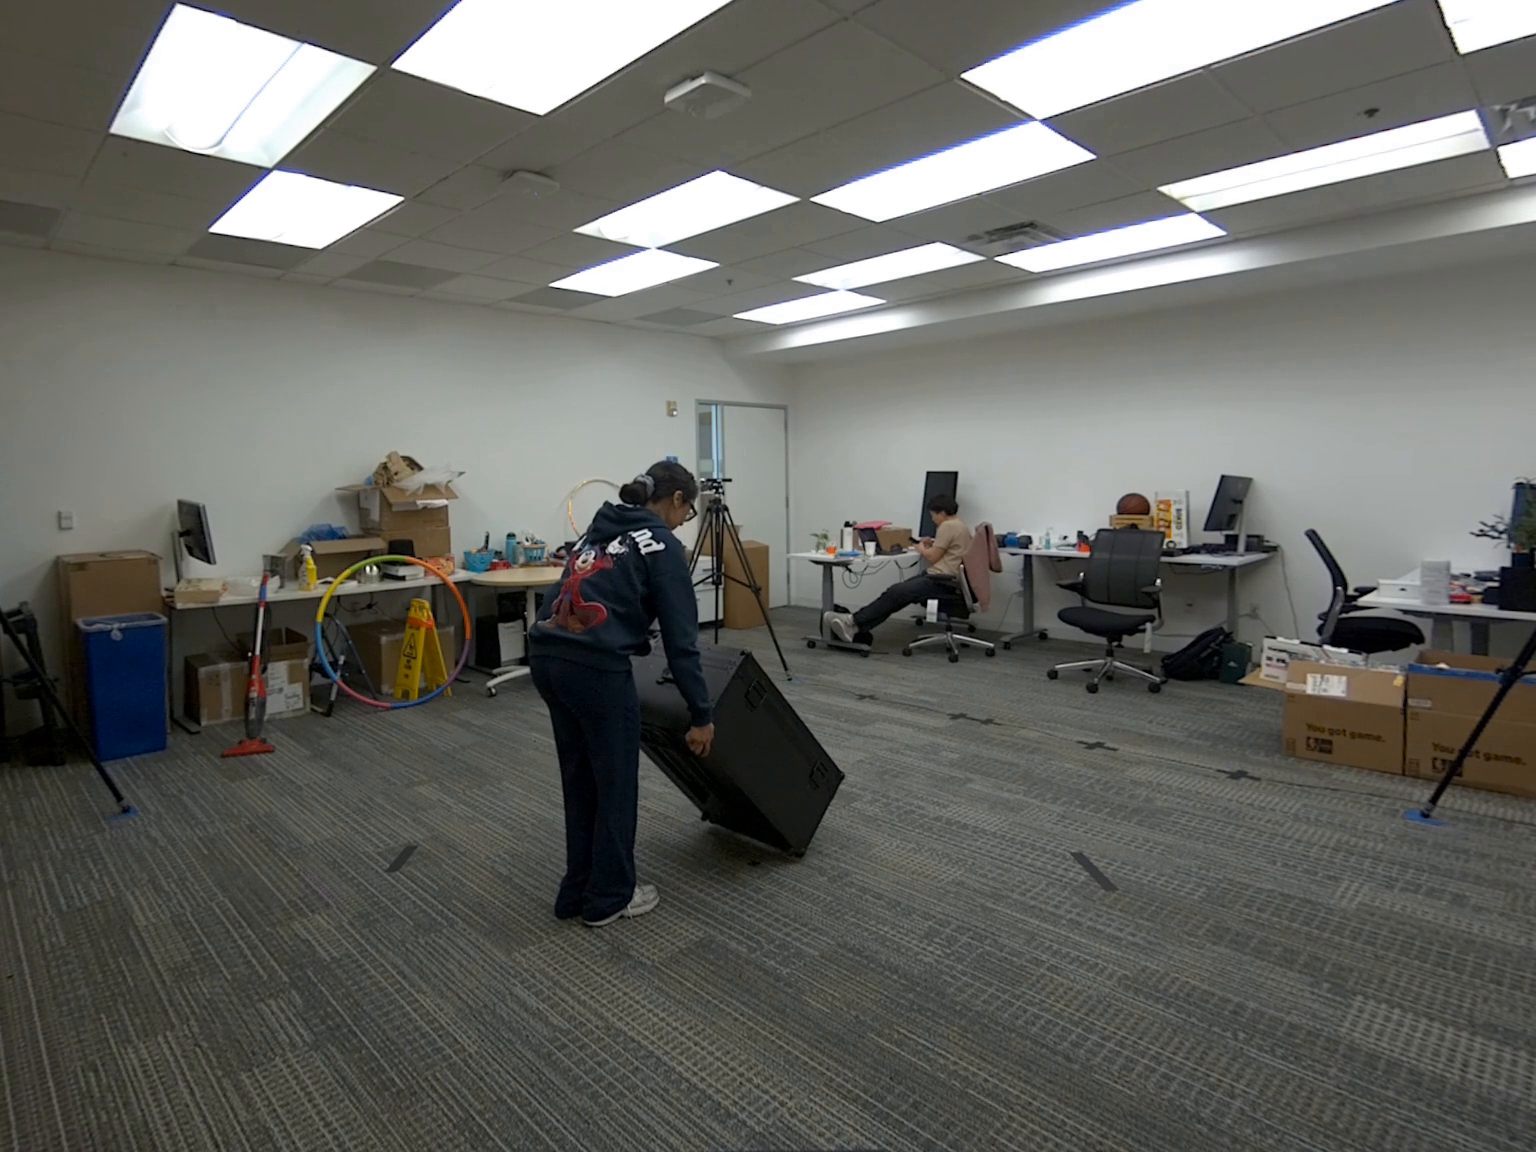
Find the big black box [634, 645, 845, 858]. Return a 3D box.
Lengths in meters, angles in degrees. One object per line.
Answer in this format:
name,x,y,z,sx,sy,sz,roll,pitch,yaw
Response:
big black box,-0.131,0.653,3.168,0.537,0.831,0.398,4,50,44
